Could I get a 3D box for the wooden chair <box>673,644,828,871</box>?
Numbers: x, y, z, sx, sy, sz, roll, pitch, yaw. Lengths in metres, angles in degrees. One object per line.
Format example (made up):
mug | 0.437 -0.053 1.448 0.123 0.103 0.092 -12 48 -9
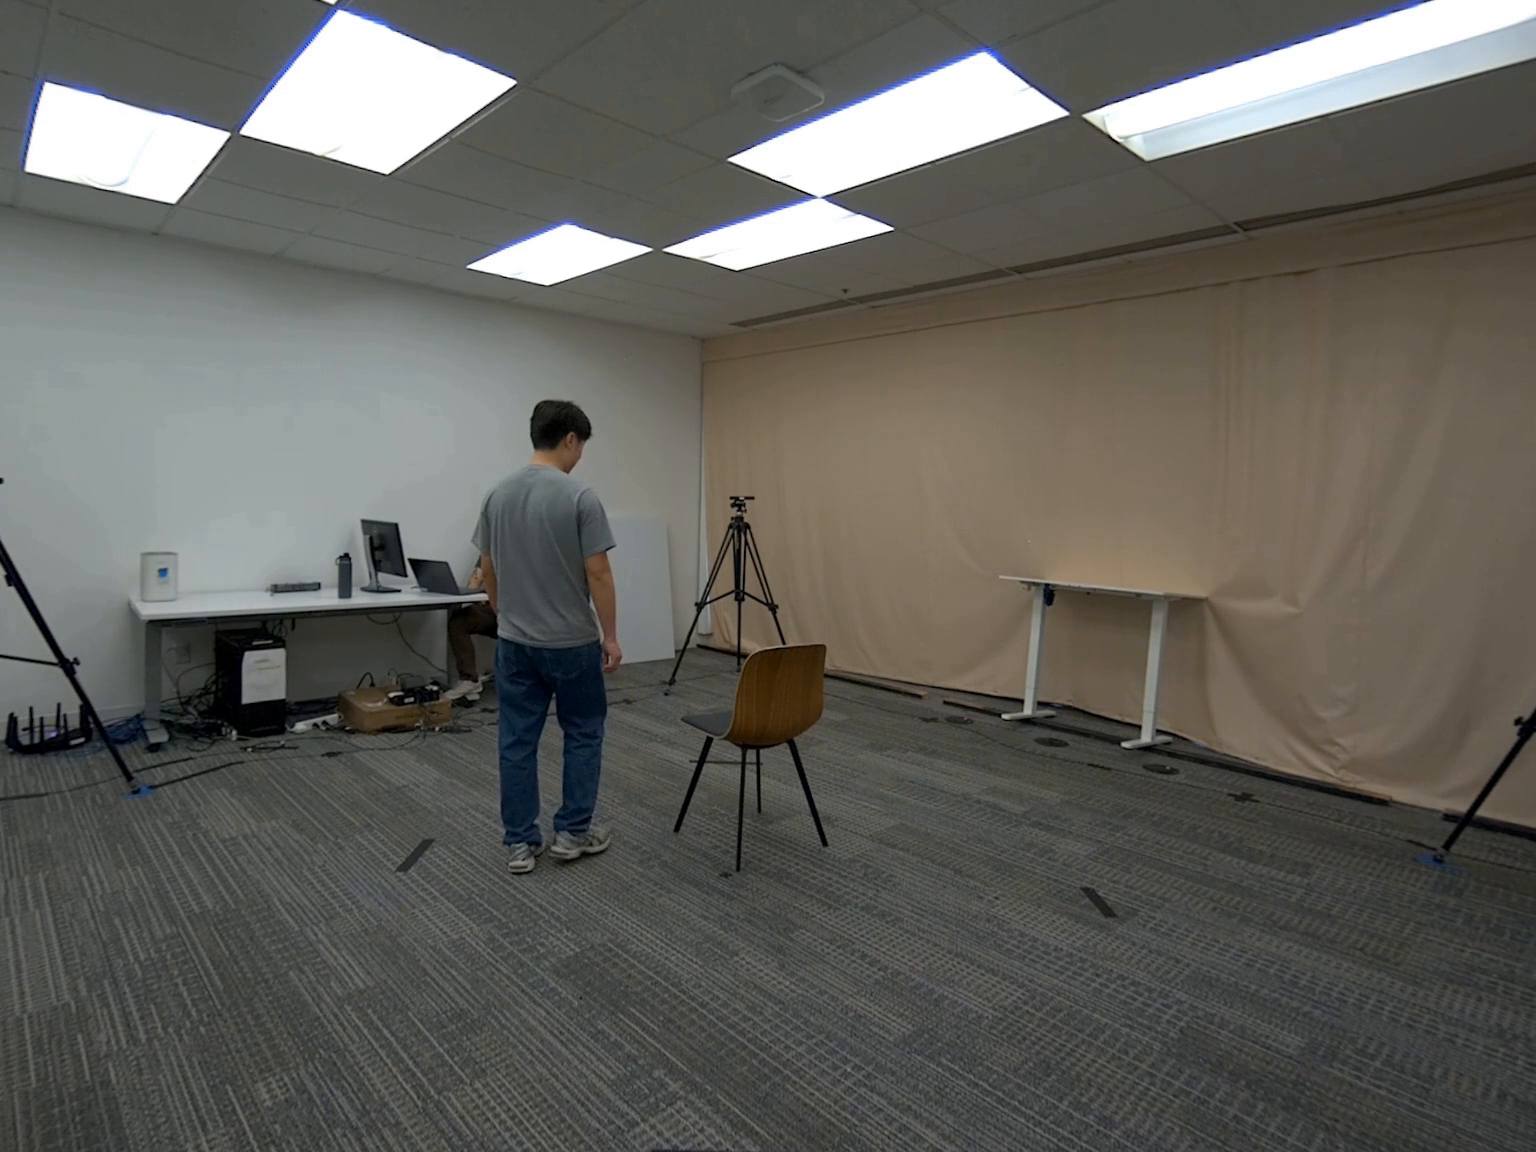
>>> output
wooden chair | -0.076 0.649 3.420 0.467 0.873 0.537 -1 9 -37
